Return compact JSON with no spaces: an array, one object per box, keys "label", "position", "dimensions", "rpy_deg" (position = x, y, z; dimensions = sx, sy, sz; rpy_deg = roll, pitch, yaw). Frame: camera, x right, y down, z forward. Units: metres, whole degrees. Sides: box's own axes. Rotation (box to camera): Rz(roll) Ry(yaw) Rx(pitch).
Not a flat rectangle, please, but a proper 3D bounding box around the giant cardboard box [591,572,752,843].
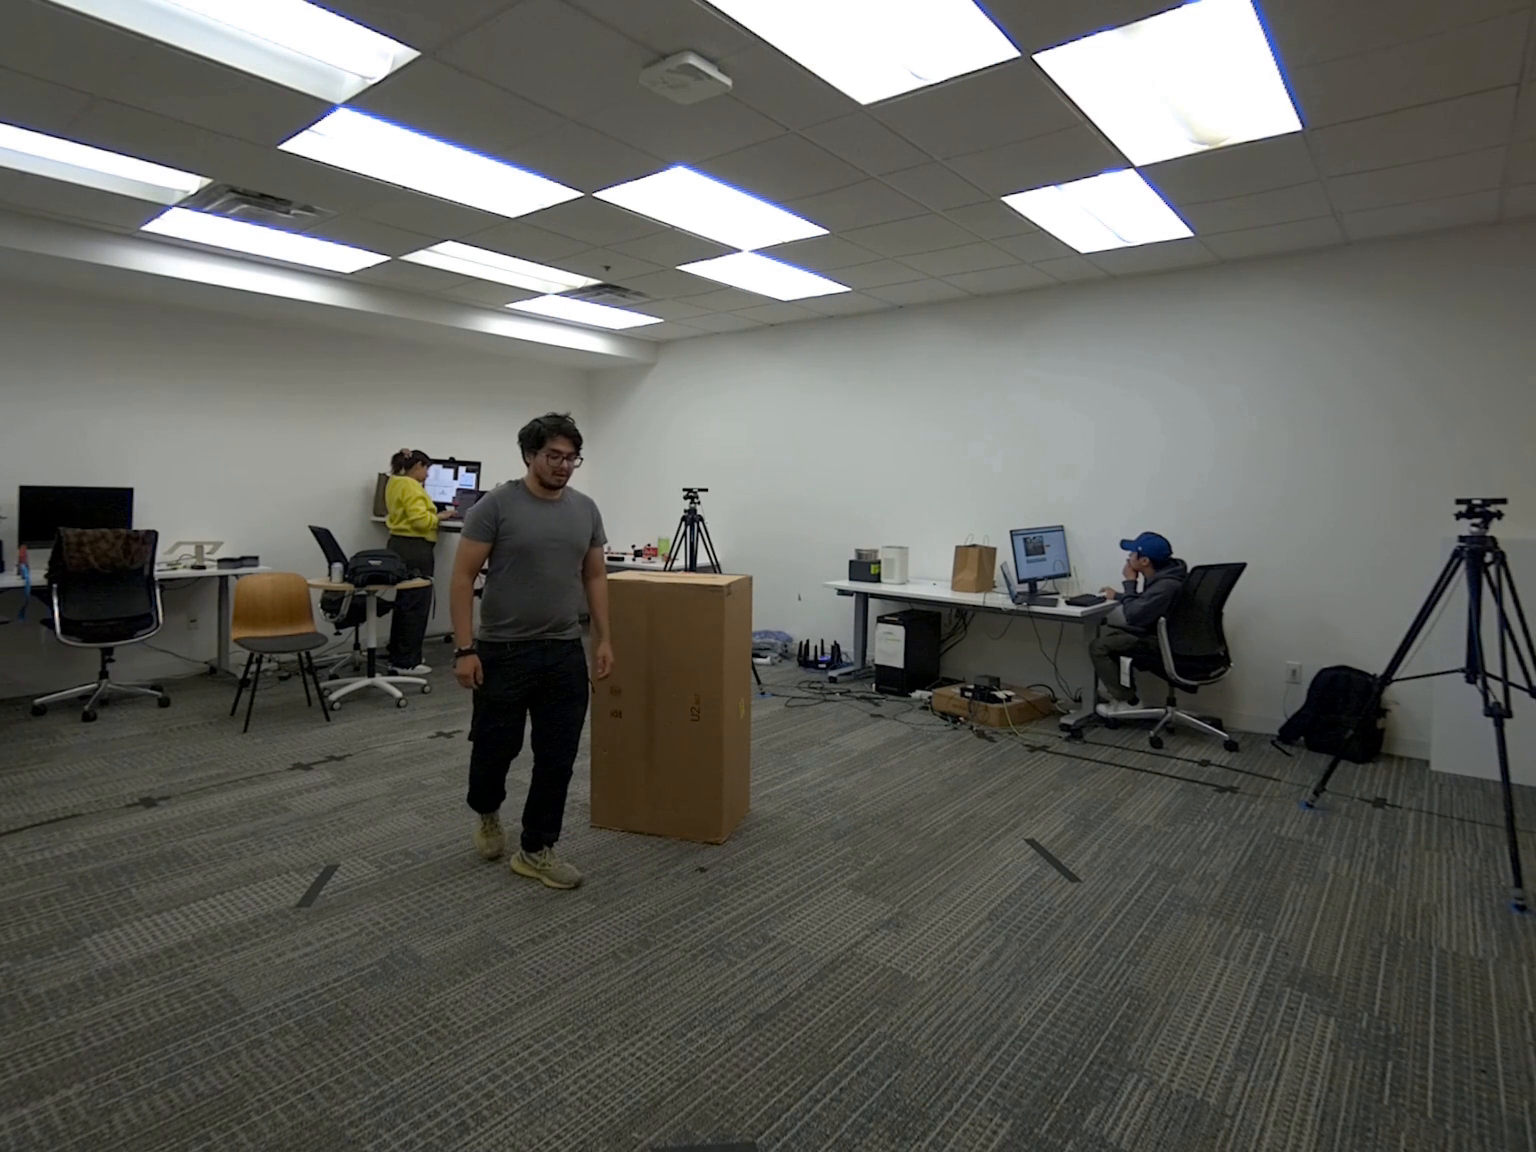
[{"label":"giant cardboard box","position":[-0.406,0.513,3.587],"dimensions":[0.594,1.024,0.440],"rpy_deg":[2,4,16]}]
